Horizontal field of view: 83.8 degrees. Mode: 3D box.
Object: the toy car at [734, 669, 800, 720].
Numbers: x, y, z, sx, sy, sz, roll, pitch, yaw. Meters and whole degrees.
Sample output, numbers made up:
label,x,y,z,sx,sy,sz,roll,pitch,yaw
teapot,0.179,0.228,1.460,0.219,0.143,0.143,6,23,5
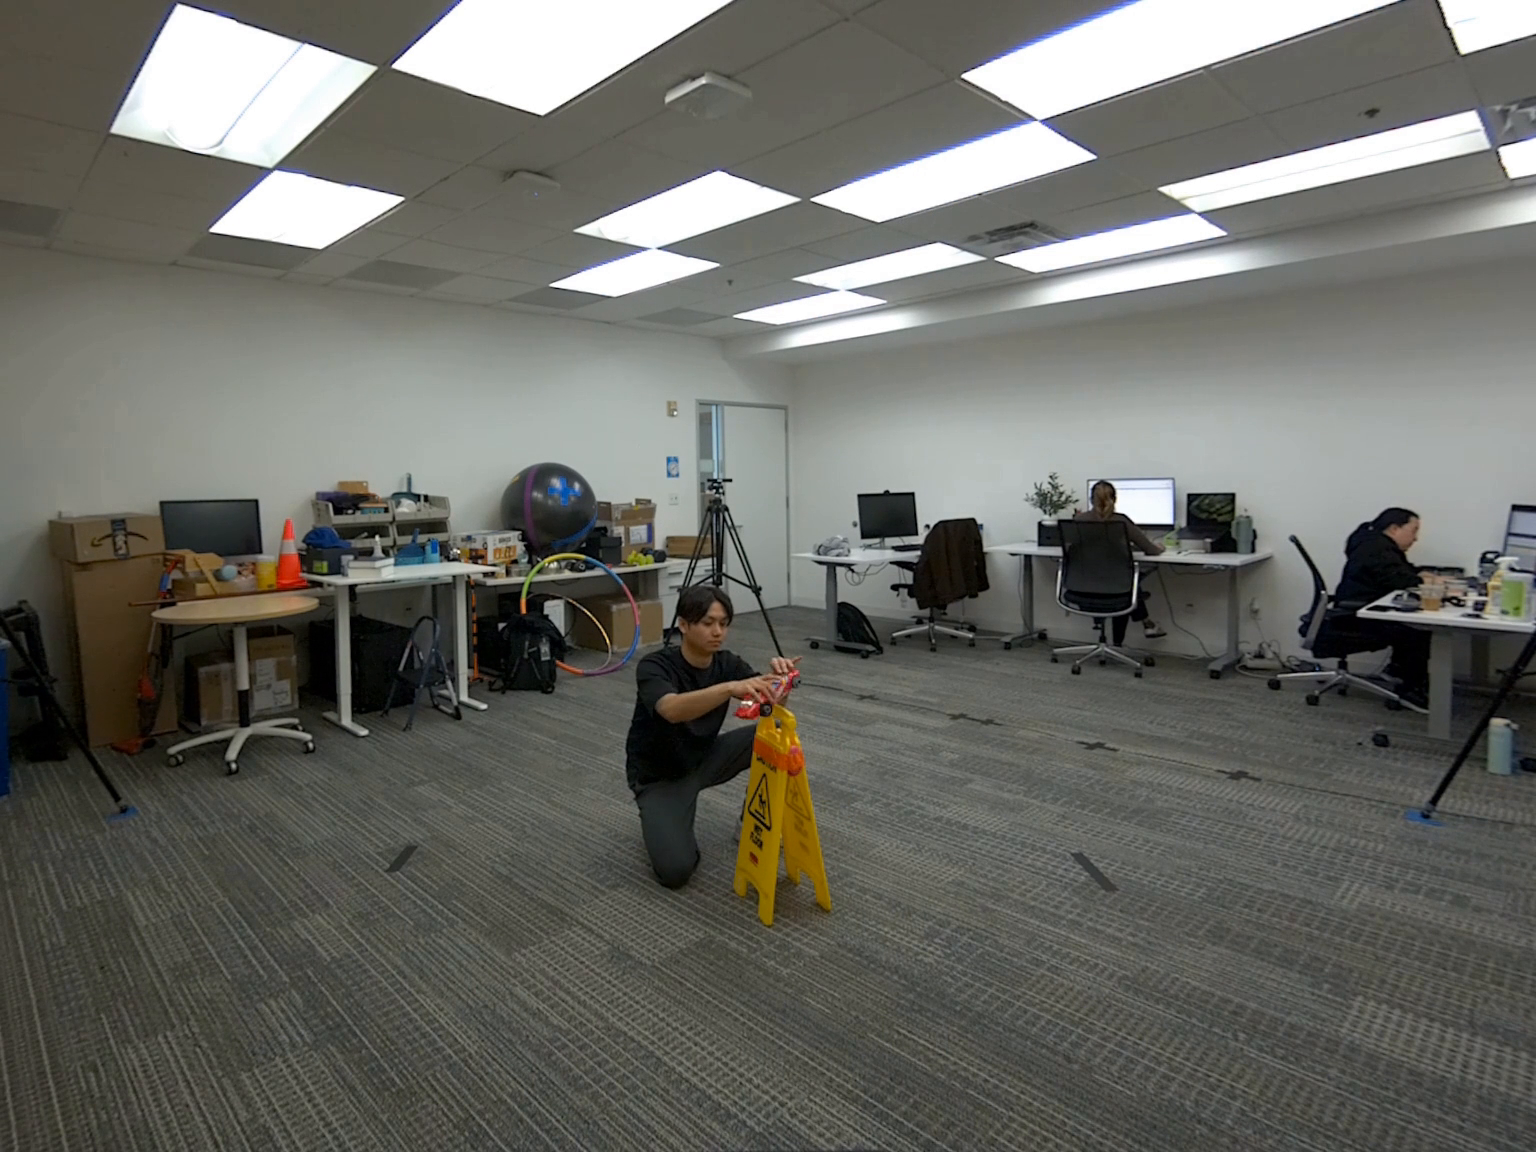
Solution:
label,x,y,z,sx,sy,sz,roll,pitch,yaw
toy car,-0.007,0.394,2.747,0.251,0.082,0.133,-27,9,-31
